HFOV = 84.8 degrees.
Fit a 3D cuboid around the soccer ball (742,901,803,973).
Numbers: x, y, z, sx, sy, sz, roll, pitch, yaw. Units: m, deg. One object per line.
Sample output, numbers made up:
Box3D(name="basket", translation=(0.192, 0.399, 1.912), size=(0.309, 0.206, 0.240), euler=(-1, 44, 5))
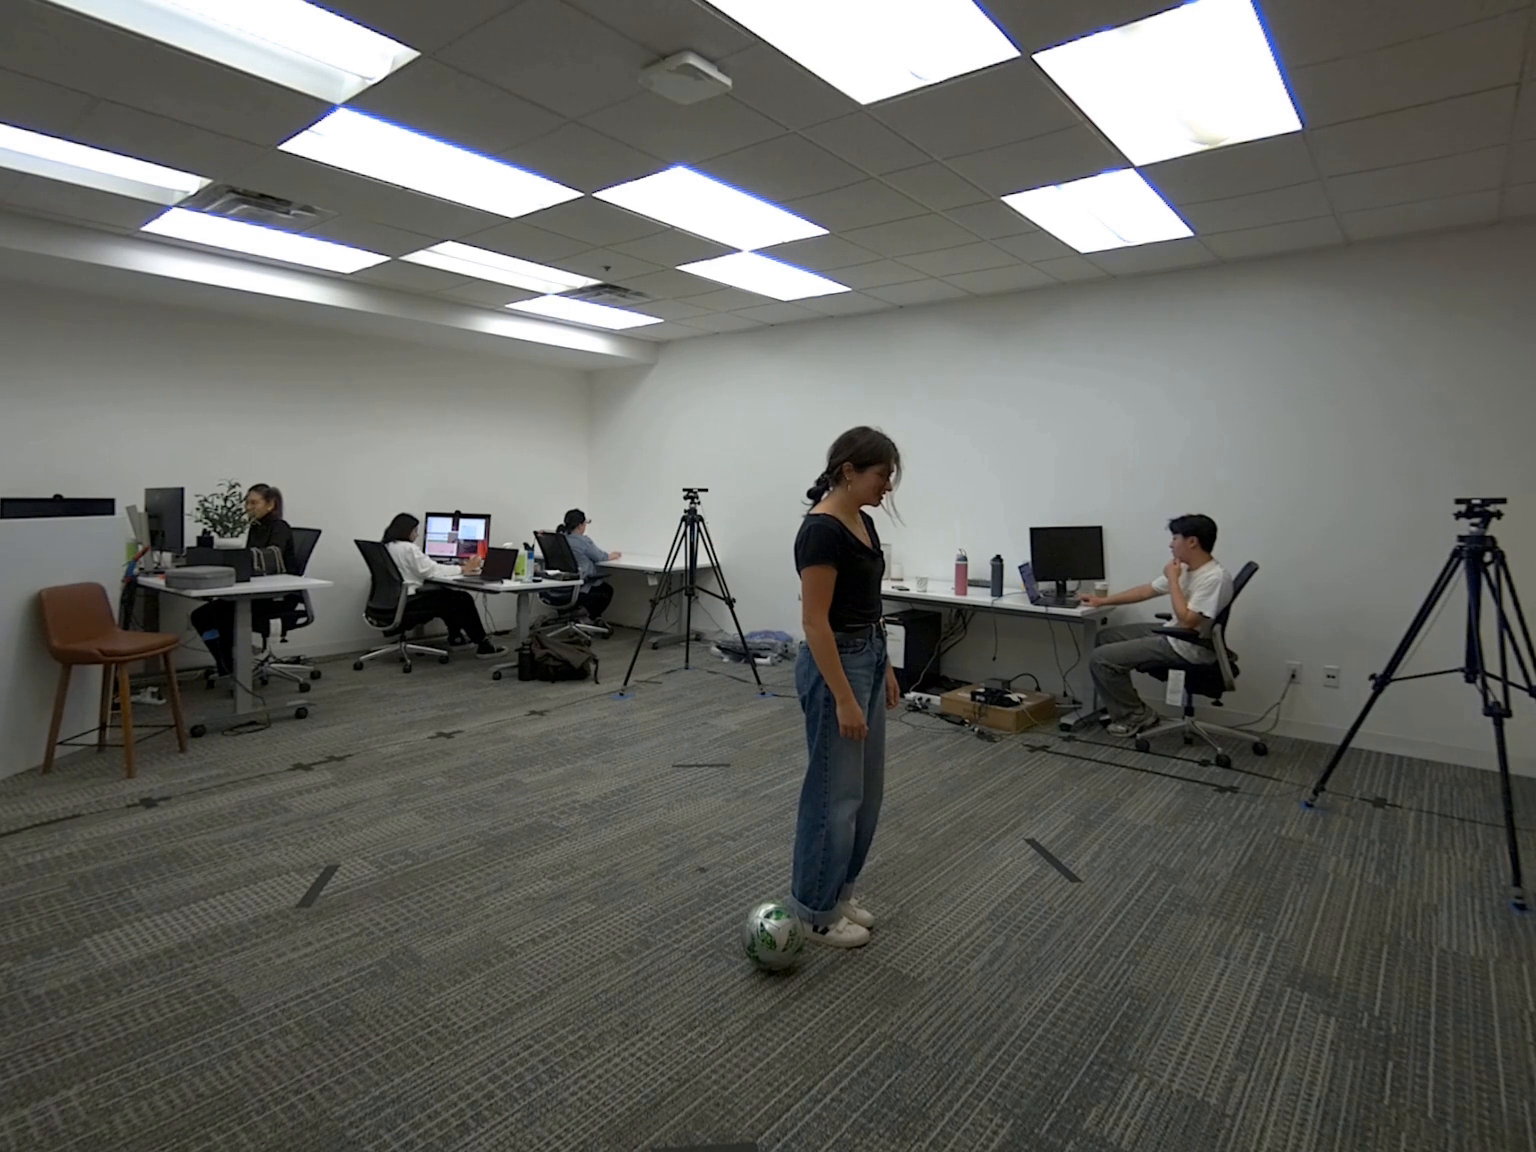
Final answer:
Box3D(name="soccer ball", translation=(0.017, 1.041, 2.485), size=(0.187, 0.187, 0.188), euler=(1, 4, -2))
